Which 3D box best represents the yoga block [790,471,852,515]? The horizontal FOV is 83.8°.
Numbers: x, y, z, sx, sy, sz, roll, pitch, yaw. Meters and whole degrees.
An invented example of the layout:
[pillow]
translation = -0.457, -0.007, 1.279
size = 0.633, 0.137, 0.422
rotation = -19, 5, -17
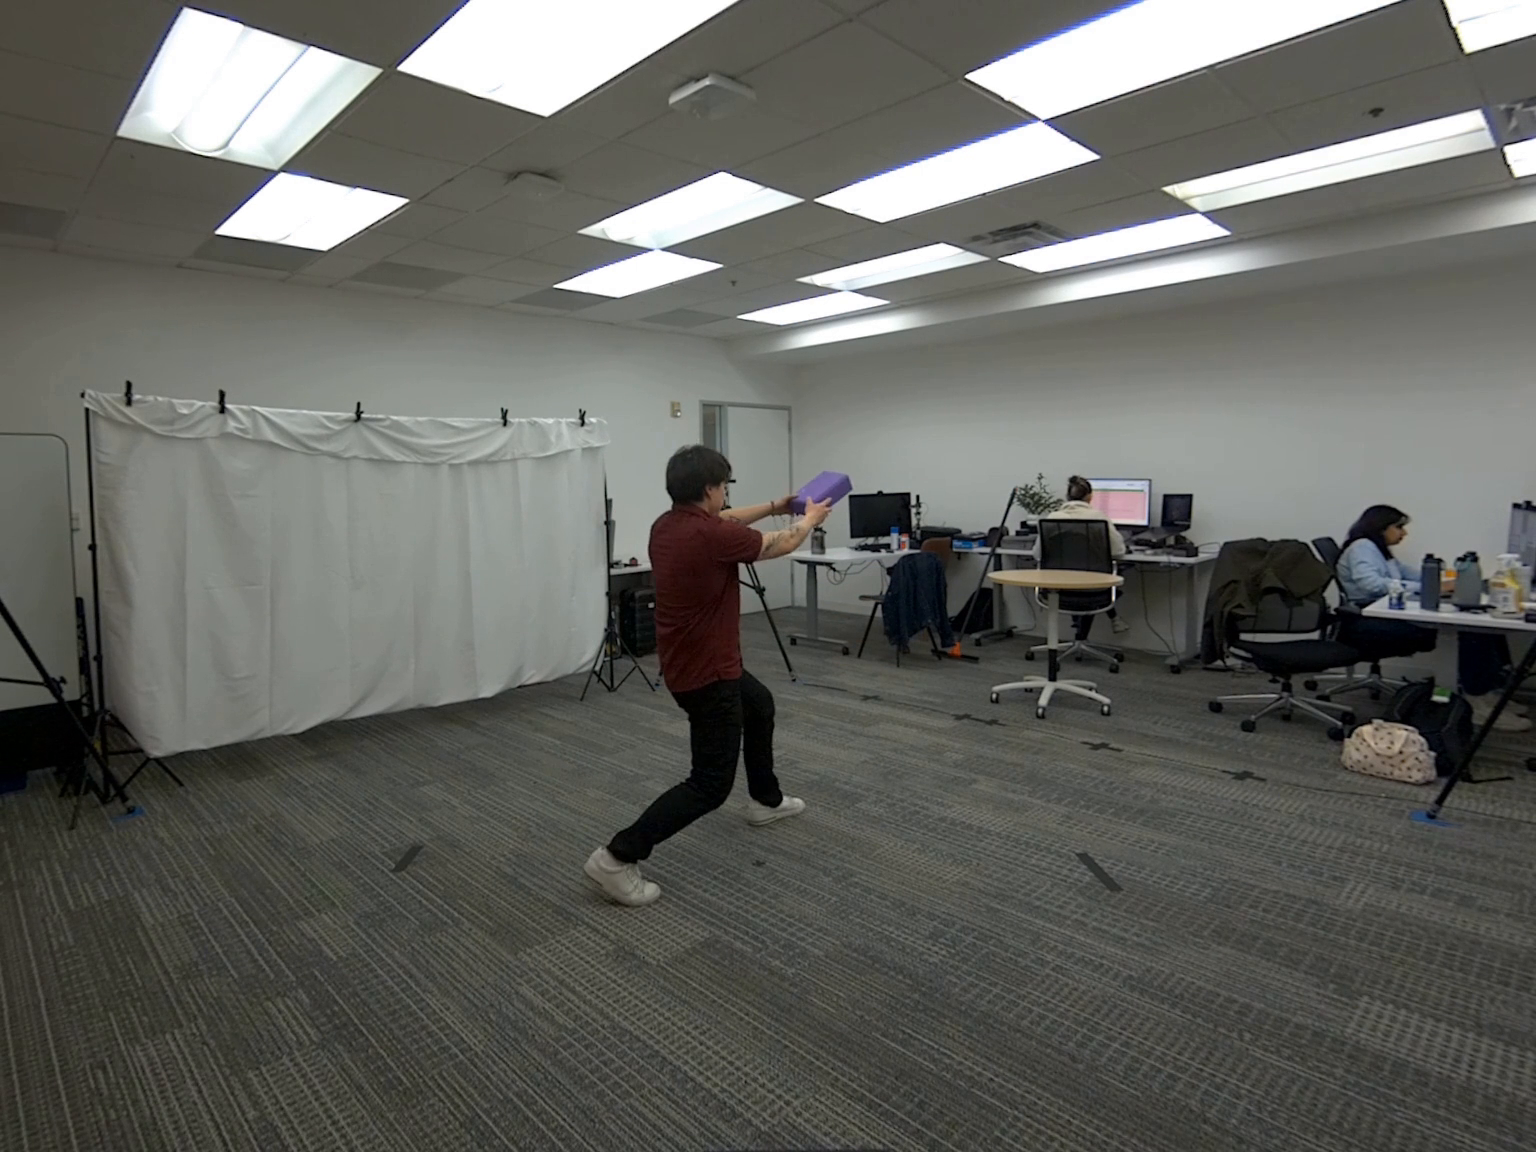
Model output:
[yoga block]
translation = 0.215, -0.307, 3.464
size = 0.228, 0.074, 0.154
rotation = -38, 33, -27
